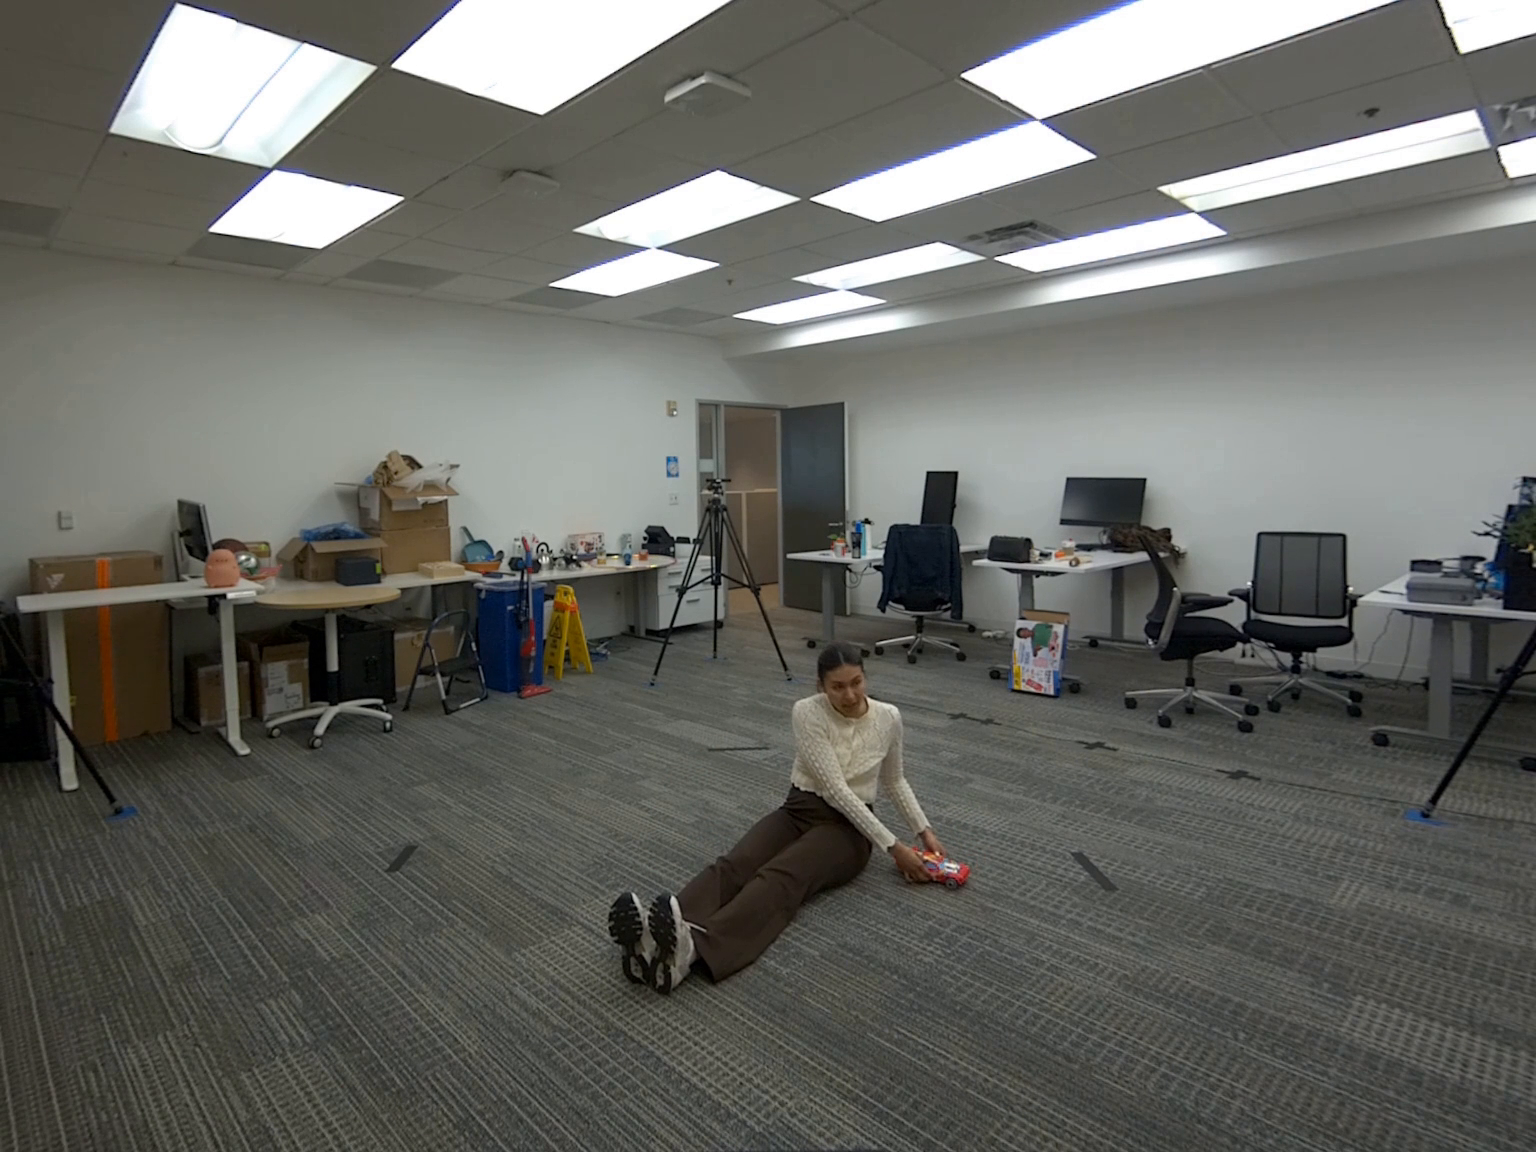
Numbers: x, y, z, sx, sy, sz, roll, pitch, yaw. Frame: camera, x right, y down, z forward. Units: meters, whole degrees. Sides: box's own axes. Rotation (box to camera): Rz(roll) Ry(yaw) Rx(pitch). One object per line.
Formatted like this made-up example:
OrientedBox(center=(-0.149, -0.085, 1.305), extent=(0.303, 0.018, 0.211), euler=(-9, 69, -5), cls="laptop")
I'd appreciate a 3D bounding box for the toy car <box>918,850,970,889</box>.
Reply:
OrientedBox(center=(0.562, 1.007, 2.979), extent=(0.263, 0.082, 0.127), euler=(15, 15, 32), cls="toy car")
